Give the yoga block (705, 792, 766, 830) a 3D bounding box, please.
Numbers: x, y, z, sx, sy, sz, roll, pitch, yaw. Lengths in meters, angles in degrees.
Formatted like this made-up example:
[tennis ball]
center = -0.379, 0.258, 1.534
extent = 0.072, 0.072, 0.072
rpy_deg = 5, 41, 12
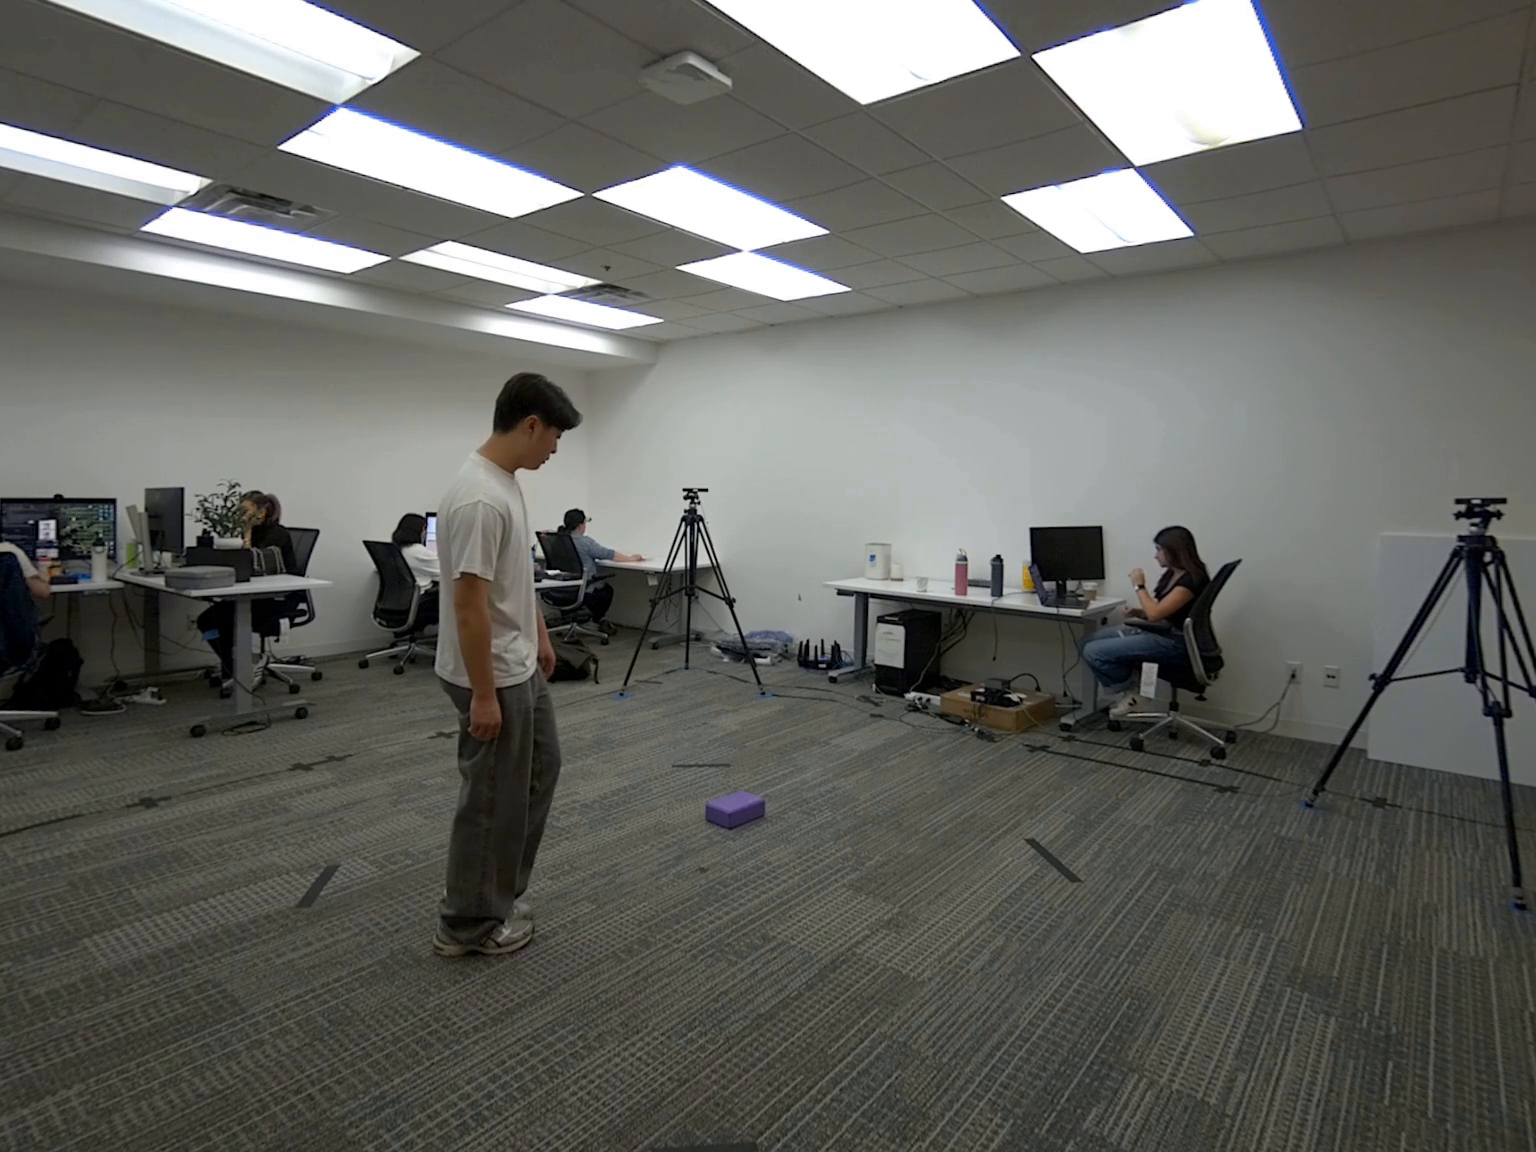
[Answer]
[yoga block]
center = -0.135, 0.979, 3.605
extent = 0.154, 0.076, 0.222
rpy_deg = 6, 7, 42
